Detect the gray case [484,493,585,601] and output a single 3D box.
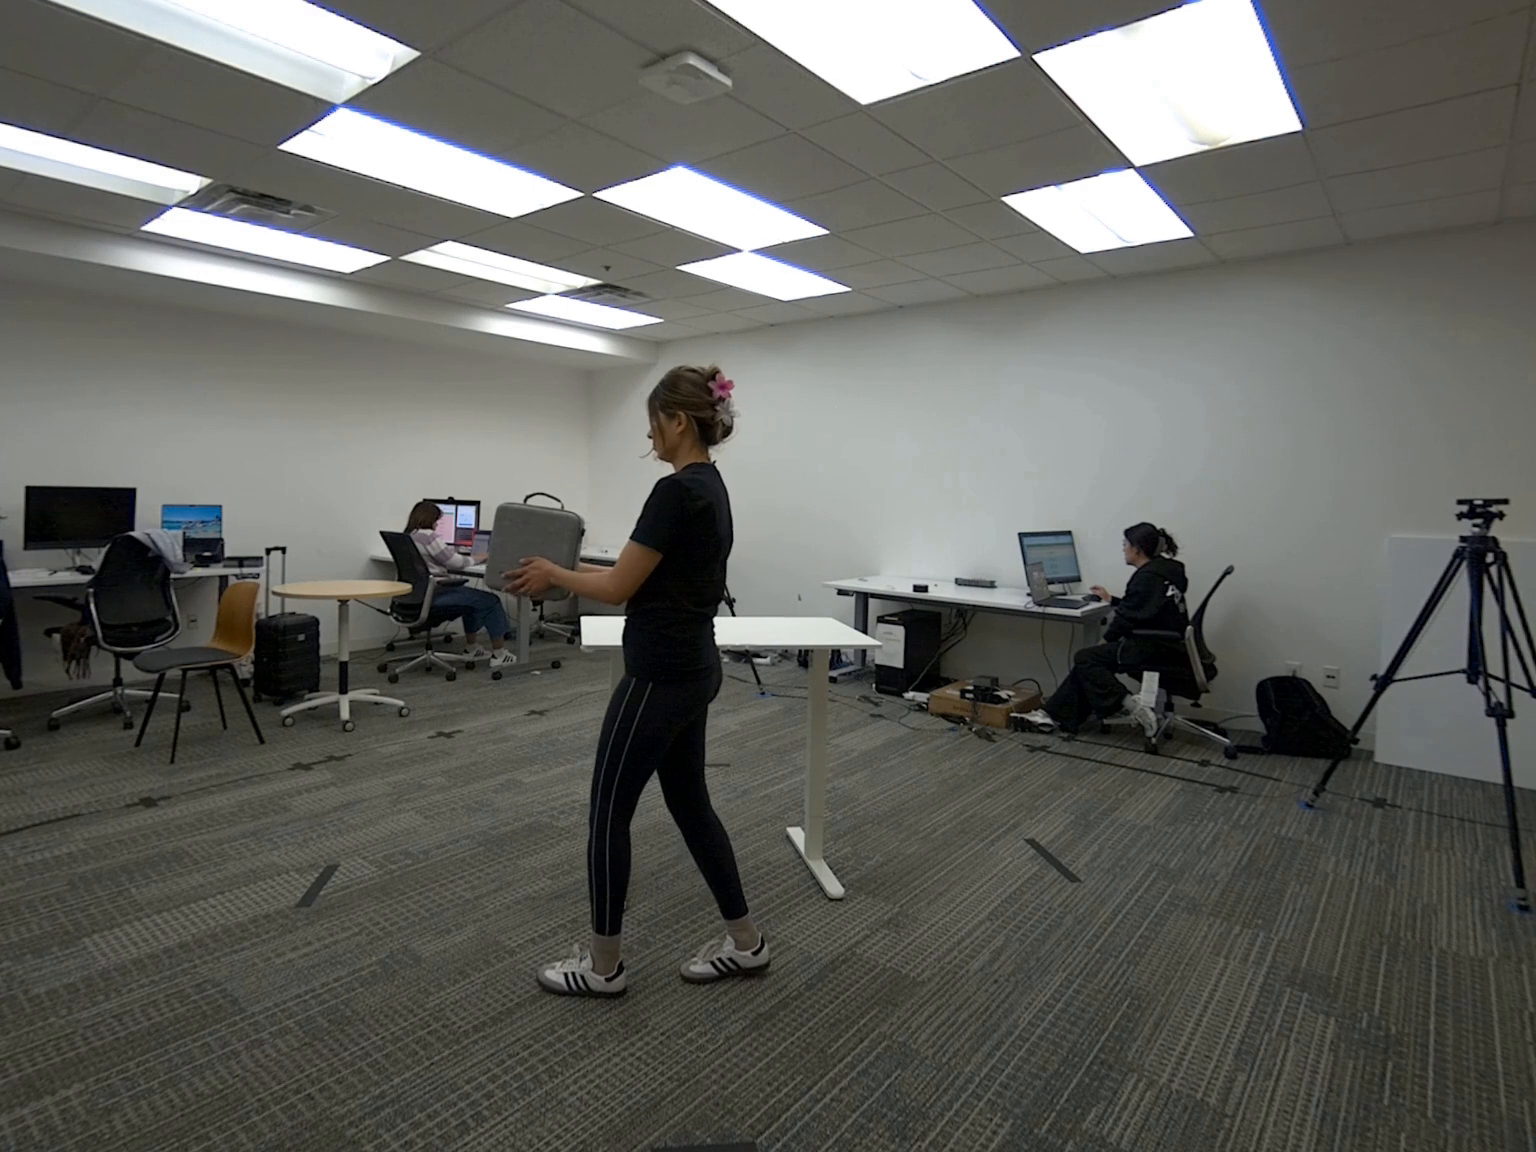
[{"bbox_3d":[-0.682,-0.078,2.443,0.259,0.261,0.103,10,-3,6],"label":"gray case"}]
